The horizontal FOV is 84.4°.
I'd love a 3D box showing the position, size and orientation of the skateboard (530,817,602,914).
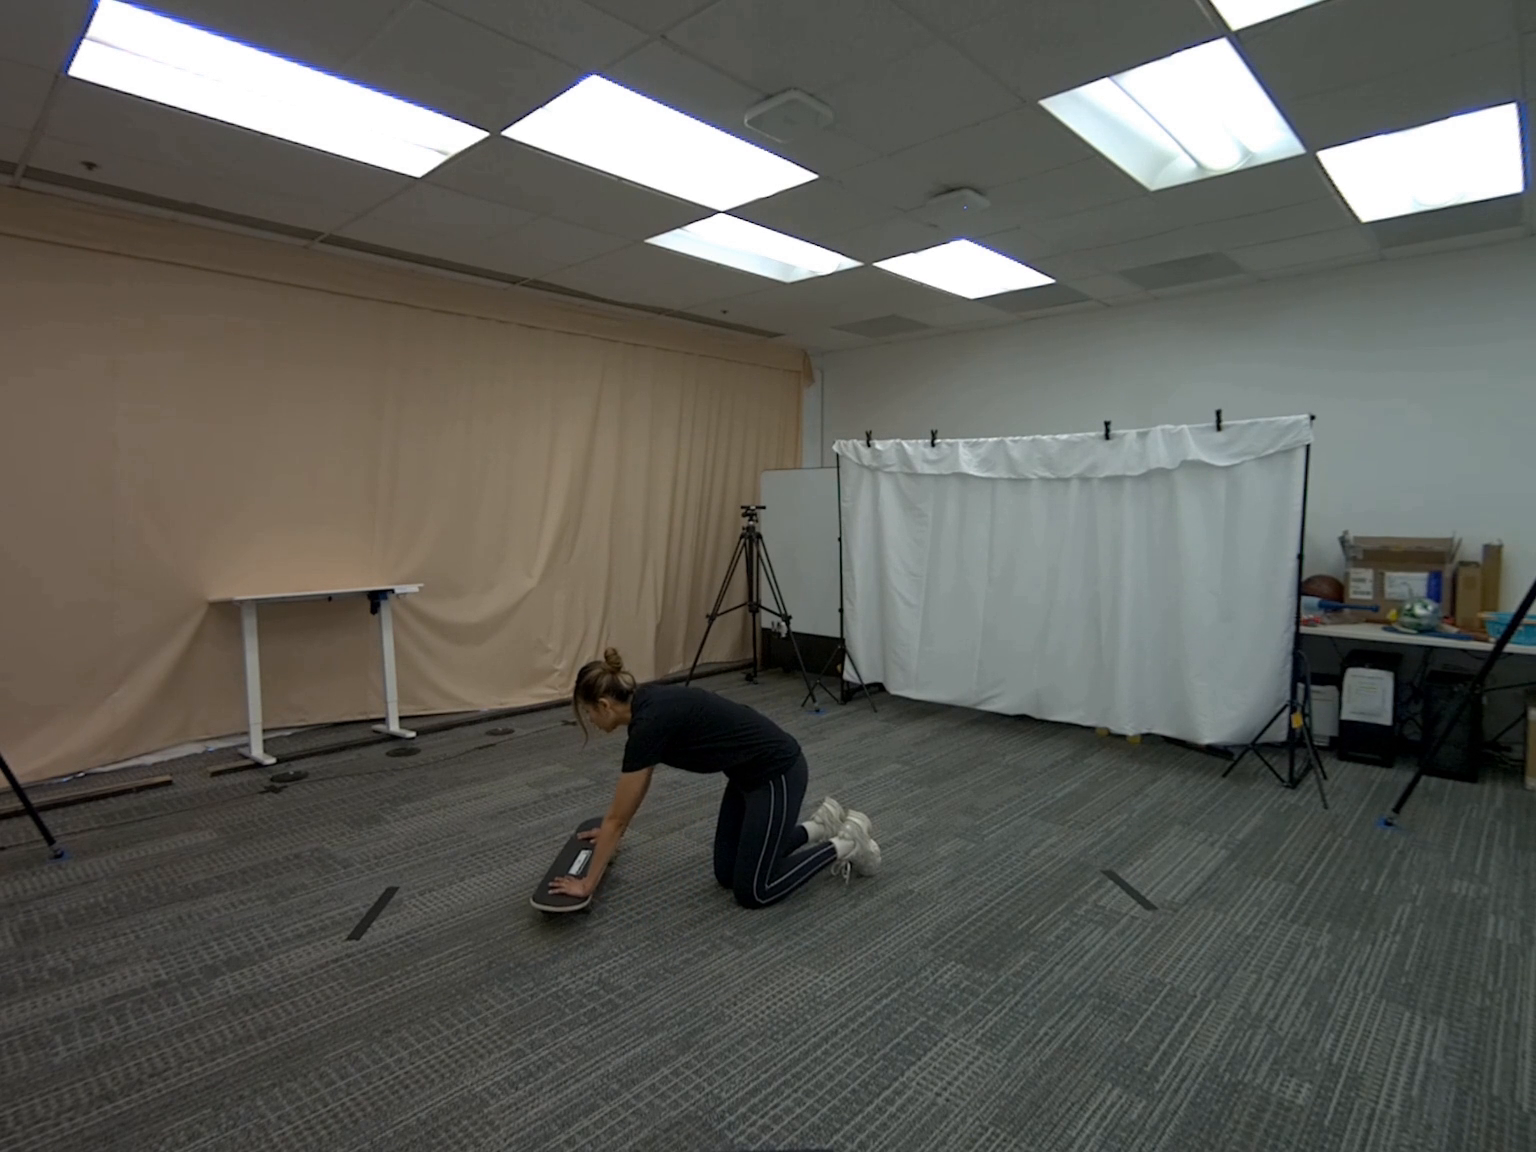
[{"bbox_3d":[-0.682,1.075,3.102,0.194,0.110,0.785,1,5,1],"label":"skateboard"}]
